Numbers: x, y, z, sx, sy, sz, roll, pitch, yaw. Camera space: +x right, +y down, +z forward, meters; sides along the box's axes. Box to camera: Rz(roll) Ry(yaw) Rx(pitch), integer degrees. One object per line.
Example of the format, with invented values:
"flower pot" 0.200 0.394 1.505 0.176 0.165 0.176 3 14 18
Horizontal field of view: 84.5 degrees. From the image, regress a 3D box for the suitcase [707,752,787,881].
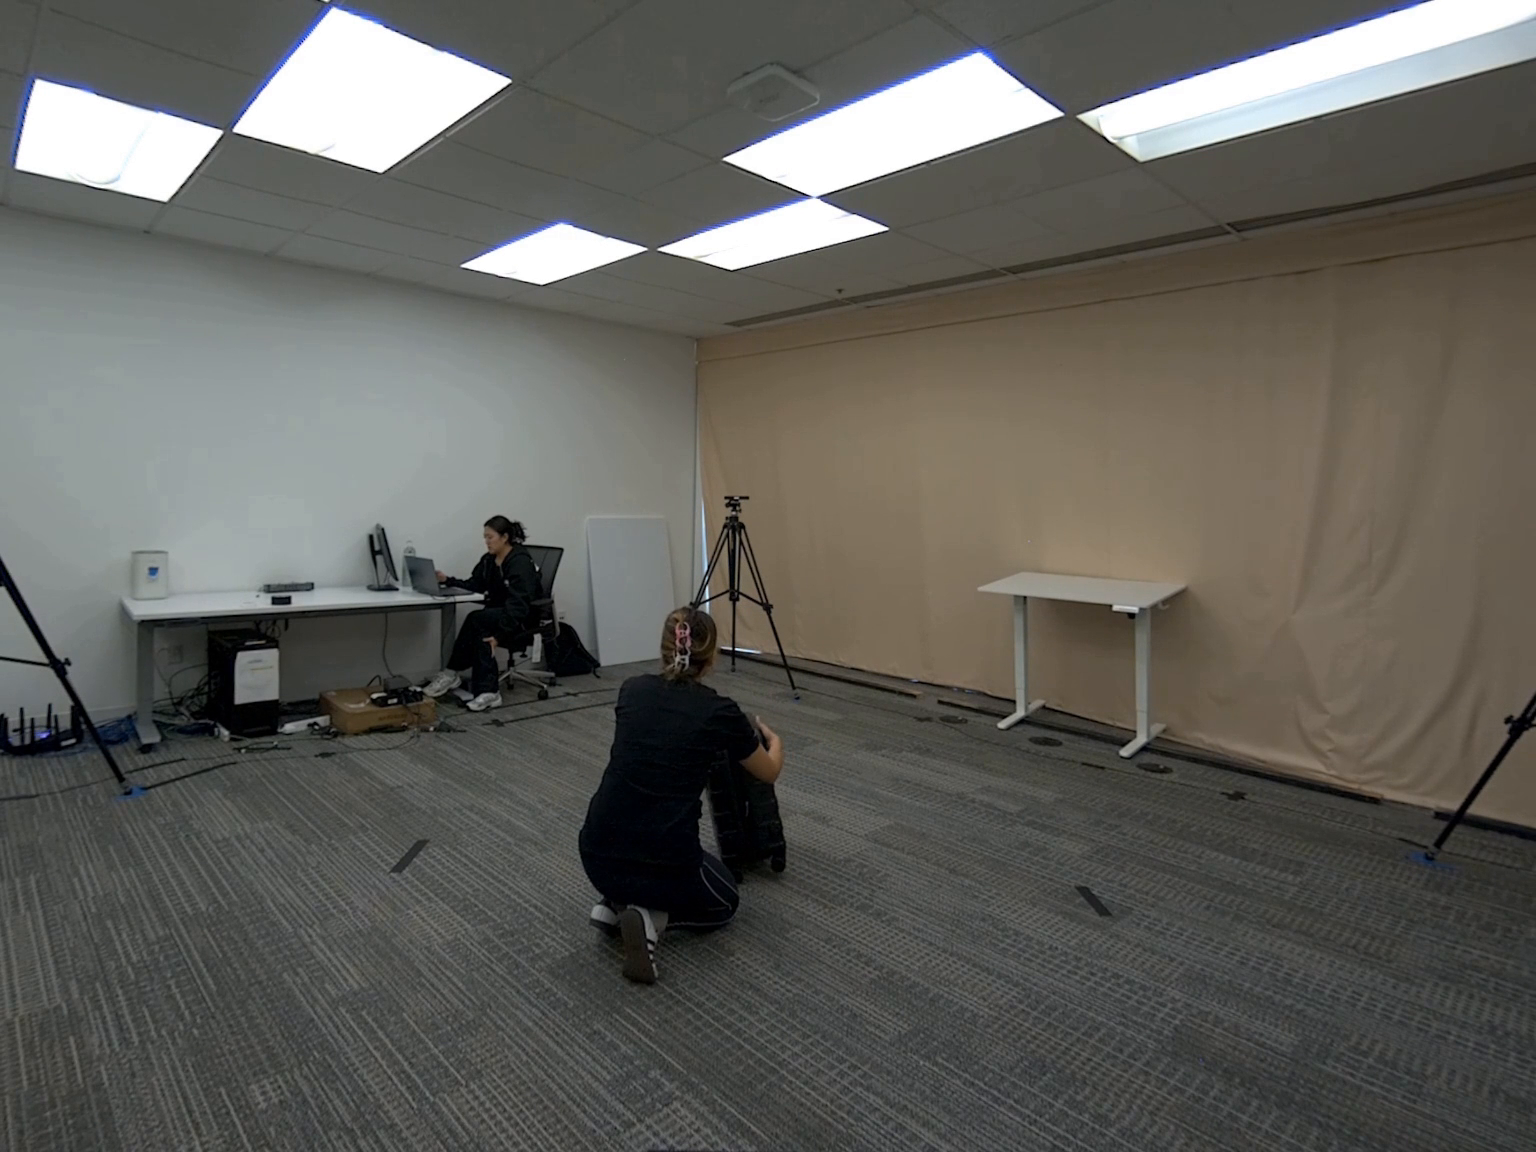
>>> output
"suitcase" -0.146 0.616 3.175 0.256 0.975 0.386 -10 5 -4
